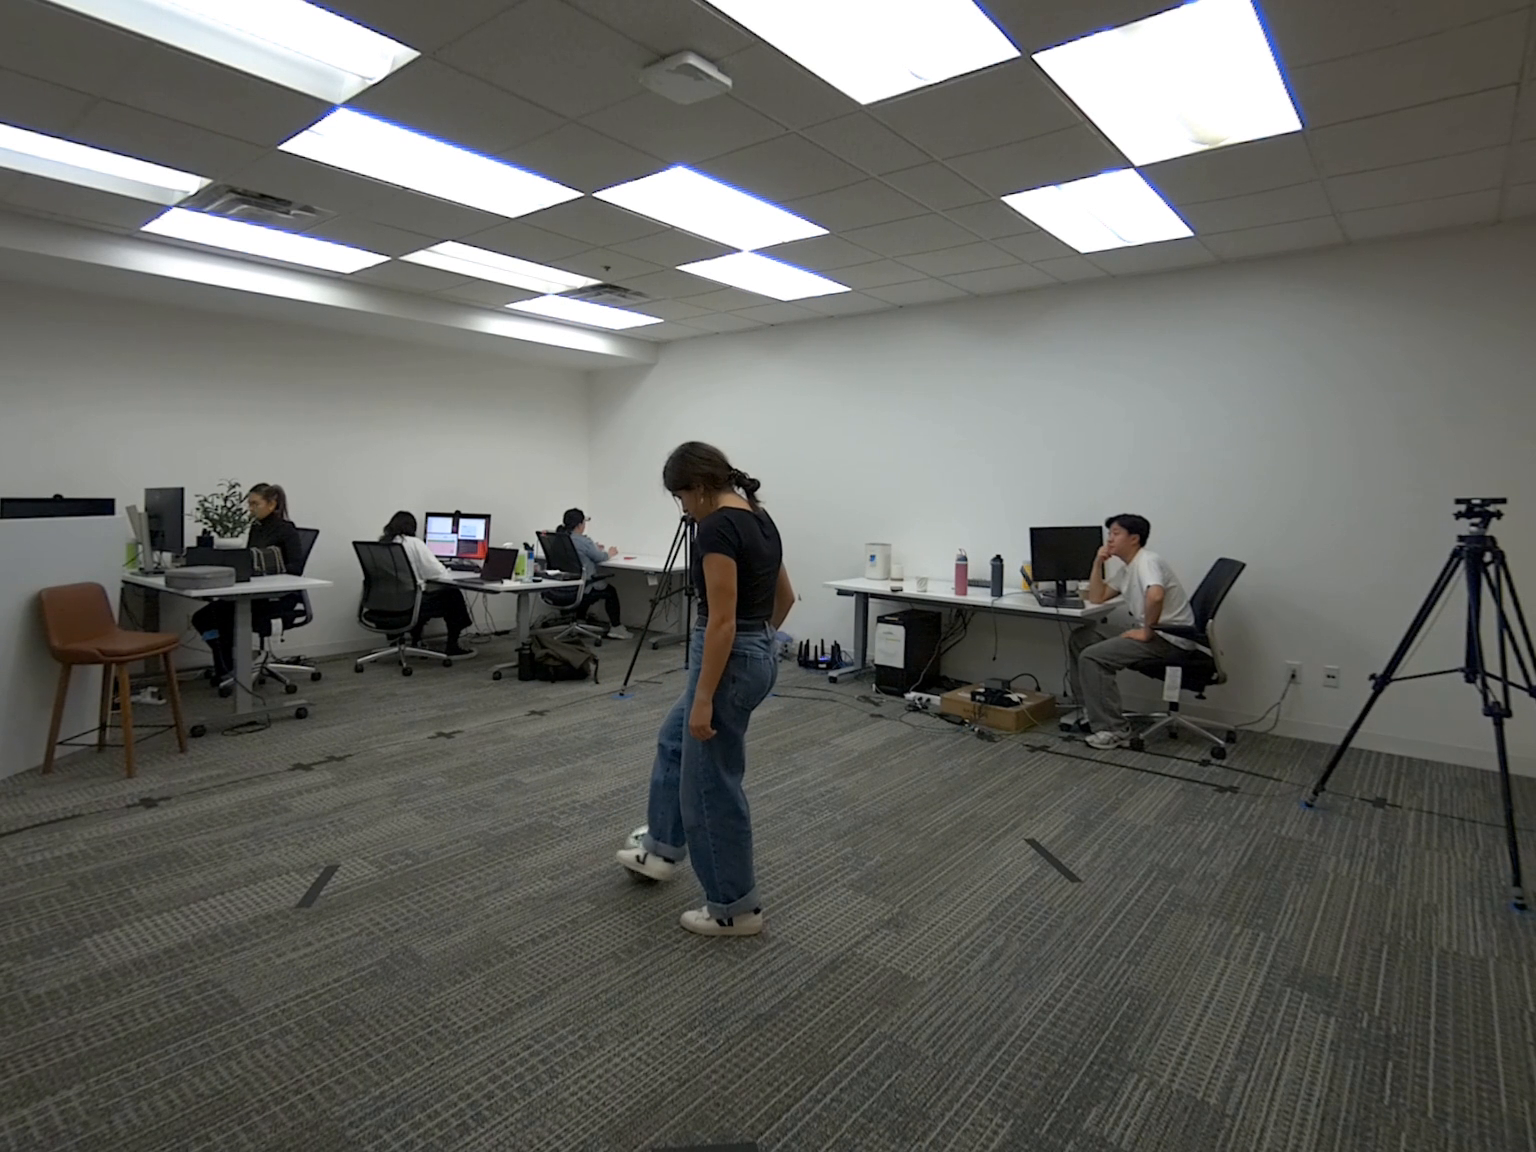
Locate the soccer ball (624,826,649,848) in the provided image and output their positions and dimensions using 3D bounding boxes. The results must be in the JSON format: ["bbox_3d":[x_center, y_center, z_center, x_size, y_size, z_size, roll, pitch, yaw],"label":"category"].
[{"bbox_3d":[-0.425,0.971,3.022,0.187,0.187,0.188,1,4,-2],"label":"soccer ball"}]
